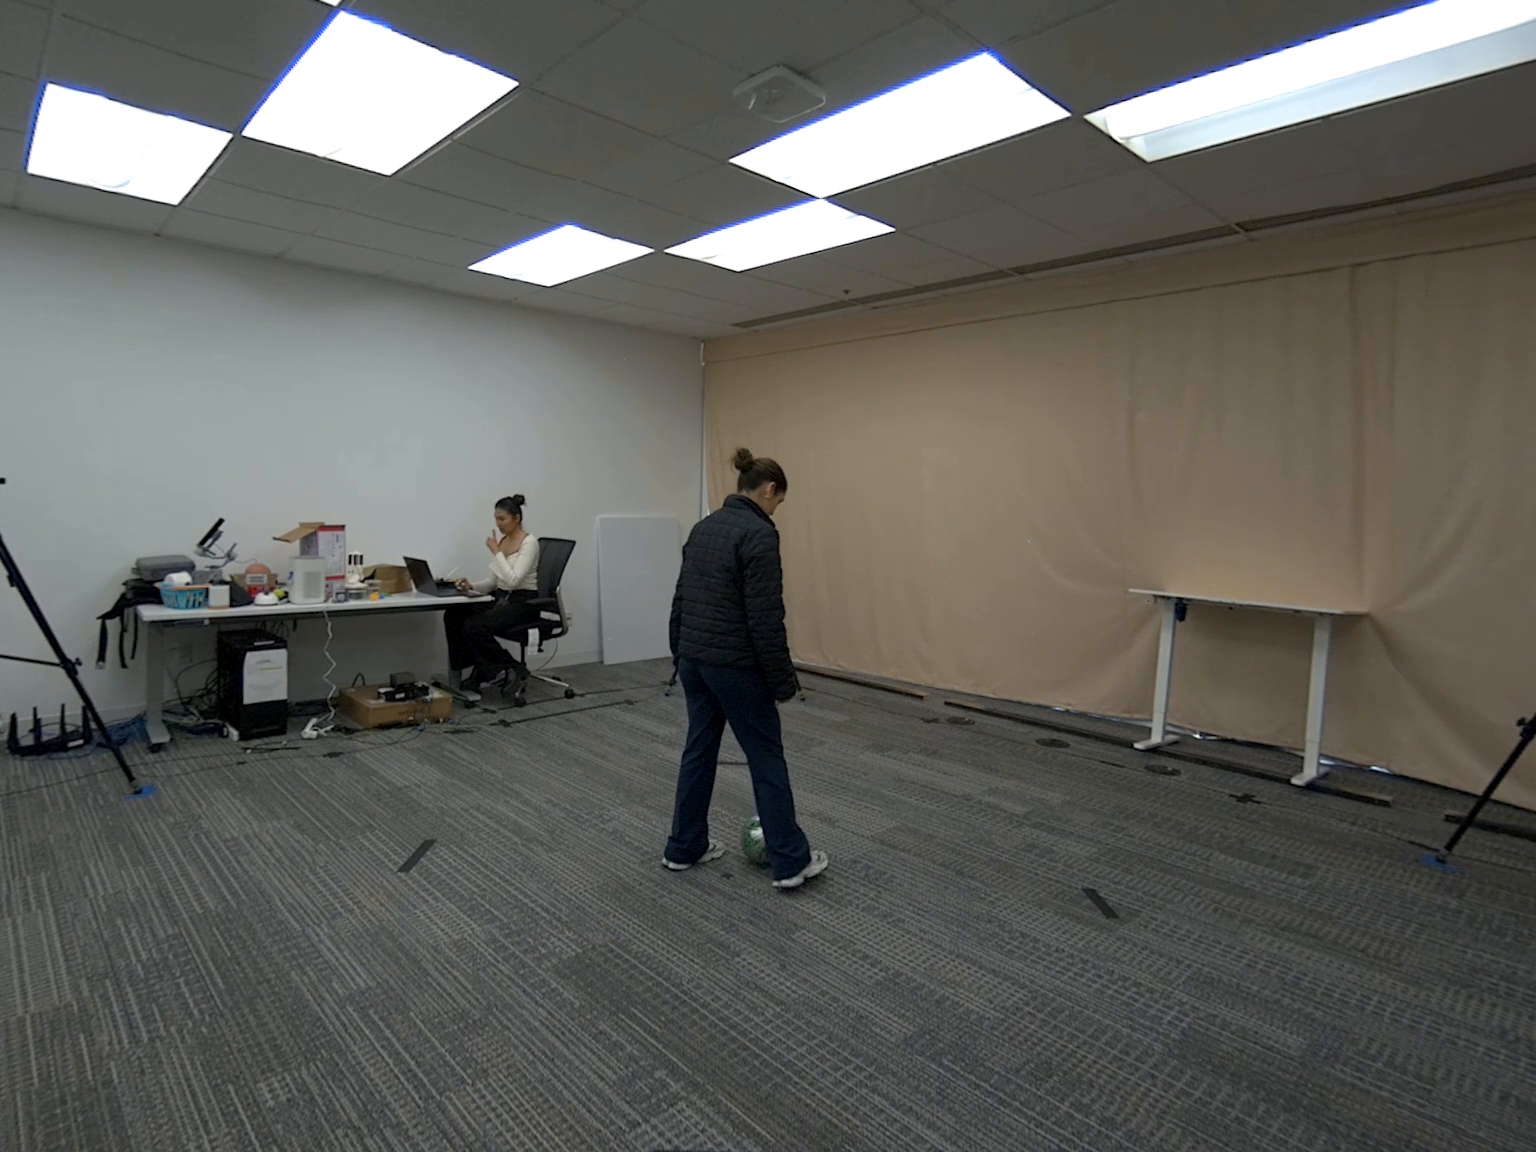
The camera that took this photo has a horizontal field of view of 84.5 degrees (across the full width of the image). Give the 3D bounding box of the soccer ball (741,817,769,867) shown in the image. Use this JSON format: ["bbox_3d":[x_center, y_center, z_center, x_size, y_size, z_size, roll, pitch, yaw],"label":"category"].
[{"bbox_3d":[-0.019,1.005,3.211,0.187,0.187,0.188,1,4,-1],"label":"soccer ball"}]
